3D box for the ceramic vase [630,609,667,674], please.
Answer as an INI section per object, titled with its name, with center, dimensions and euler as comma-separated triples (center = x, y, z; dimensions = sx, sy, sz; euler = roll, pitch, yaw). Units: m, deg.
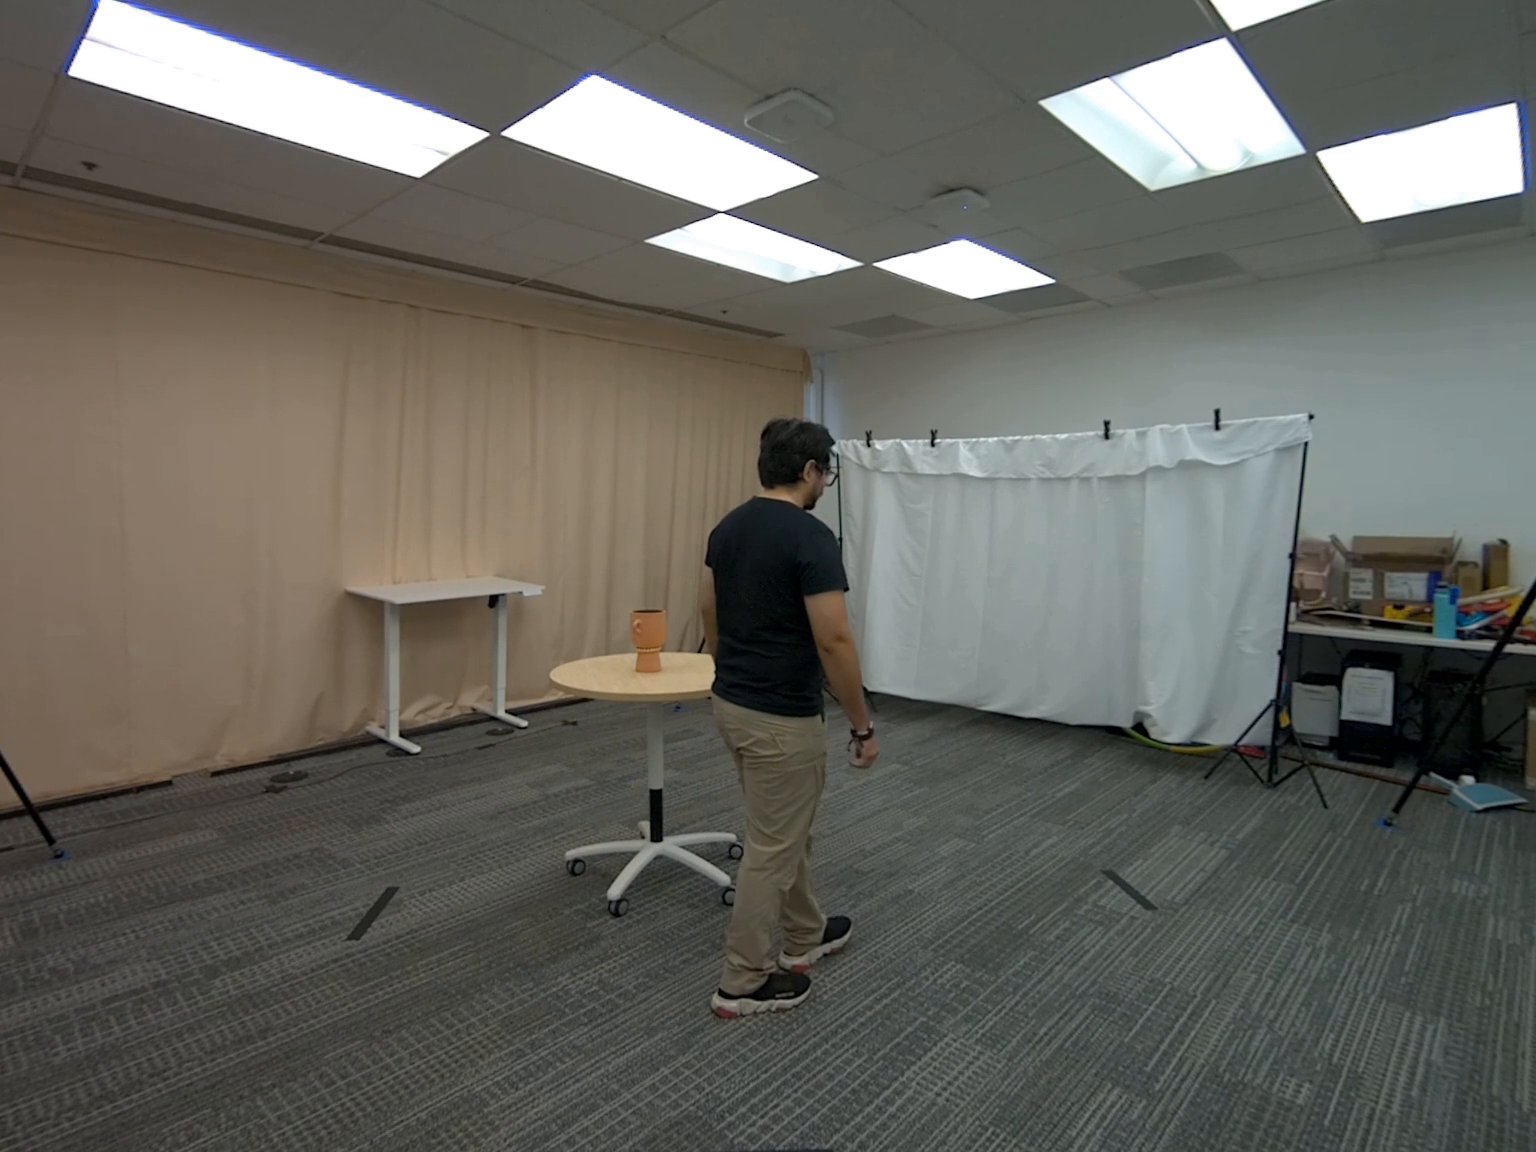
[ceramic vase]
center = -0.446, 0.240, 3.128
dimensions = 0.155, 0.219, 0.138
euler = -1, 4, -28
